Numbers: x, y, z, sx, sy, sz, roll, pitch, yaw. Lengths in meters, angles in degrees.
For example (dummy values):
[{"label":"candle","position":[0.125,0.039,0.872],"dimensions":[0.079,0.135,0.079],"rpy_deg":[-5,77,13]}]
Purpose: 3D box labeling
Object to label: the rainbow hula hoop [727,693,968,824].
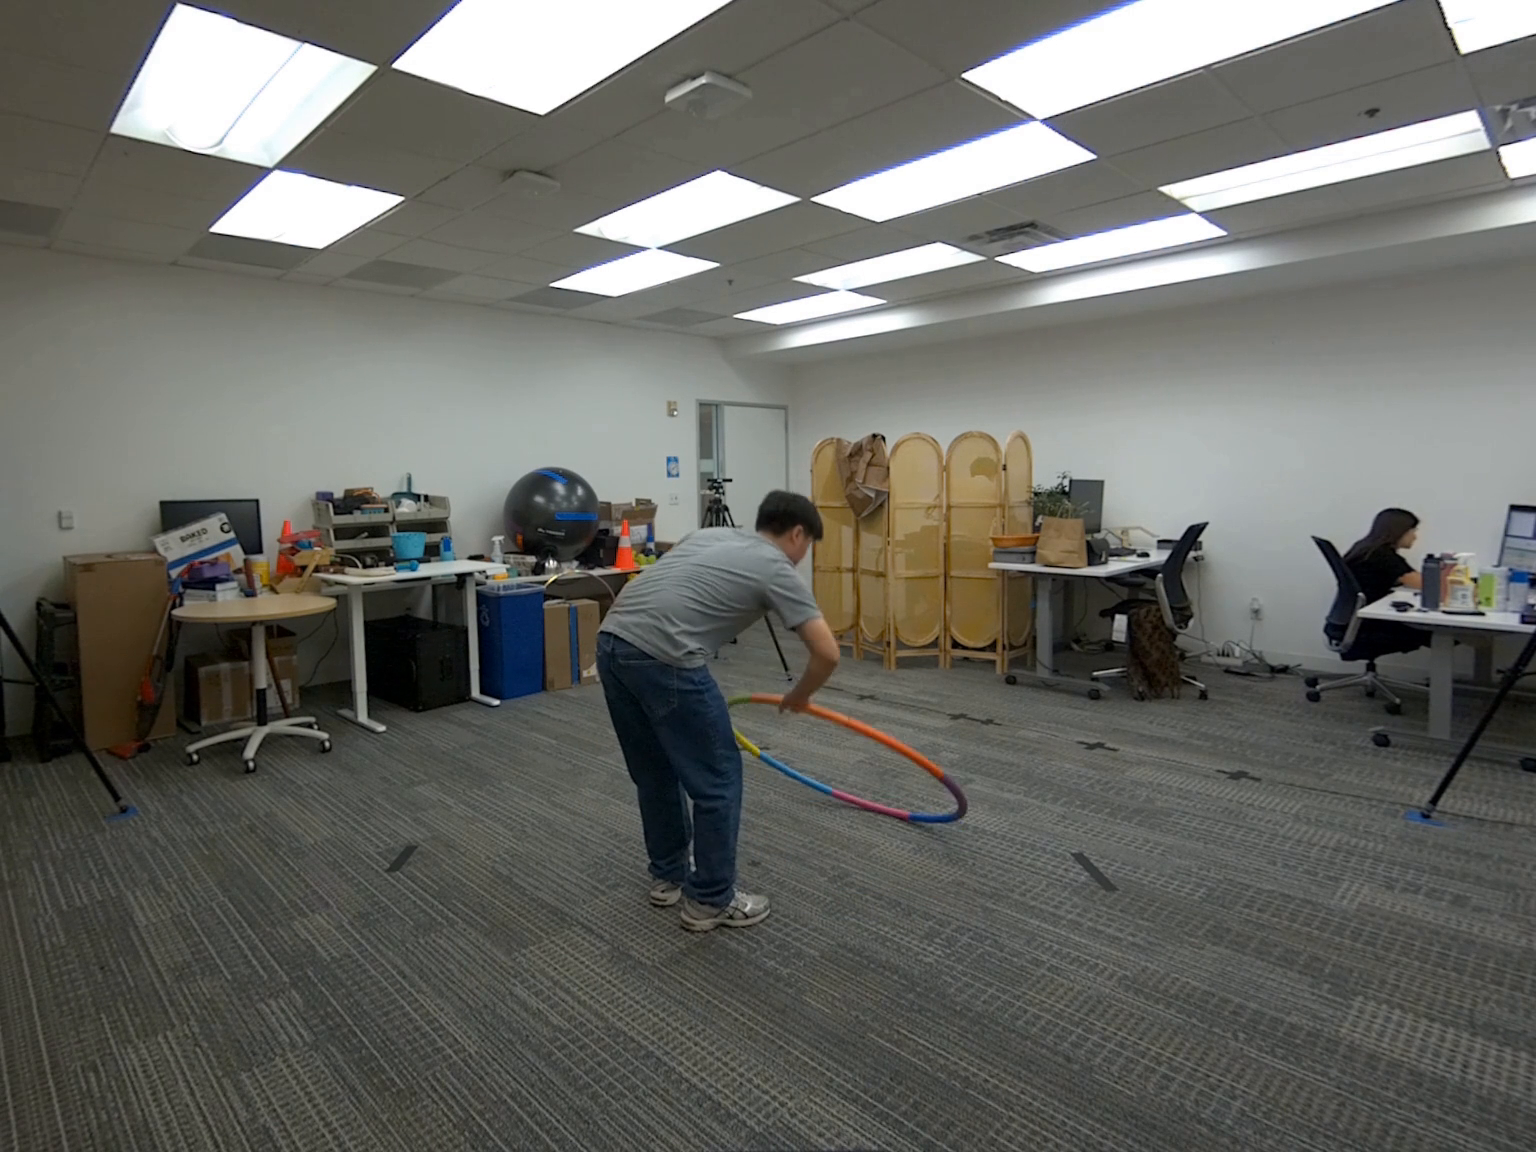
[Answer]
[{"label":"rainbow hula hoop","position":[0.264,0.713,3.244],"dimensions":[0.991,0.036,0.958],"rpy_deg":[22,-25,9]}]
